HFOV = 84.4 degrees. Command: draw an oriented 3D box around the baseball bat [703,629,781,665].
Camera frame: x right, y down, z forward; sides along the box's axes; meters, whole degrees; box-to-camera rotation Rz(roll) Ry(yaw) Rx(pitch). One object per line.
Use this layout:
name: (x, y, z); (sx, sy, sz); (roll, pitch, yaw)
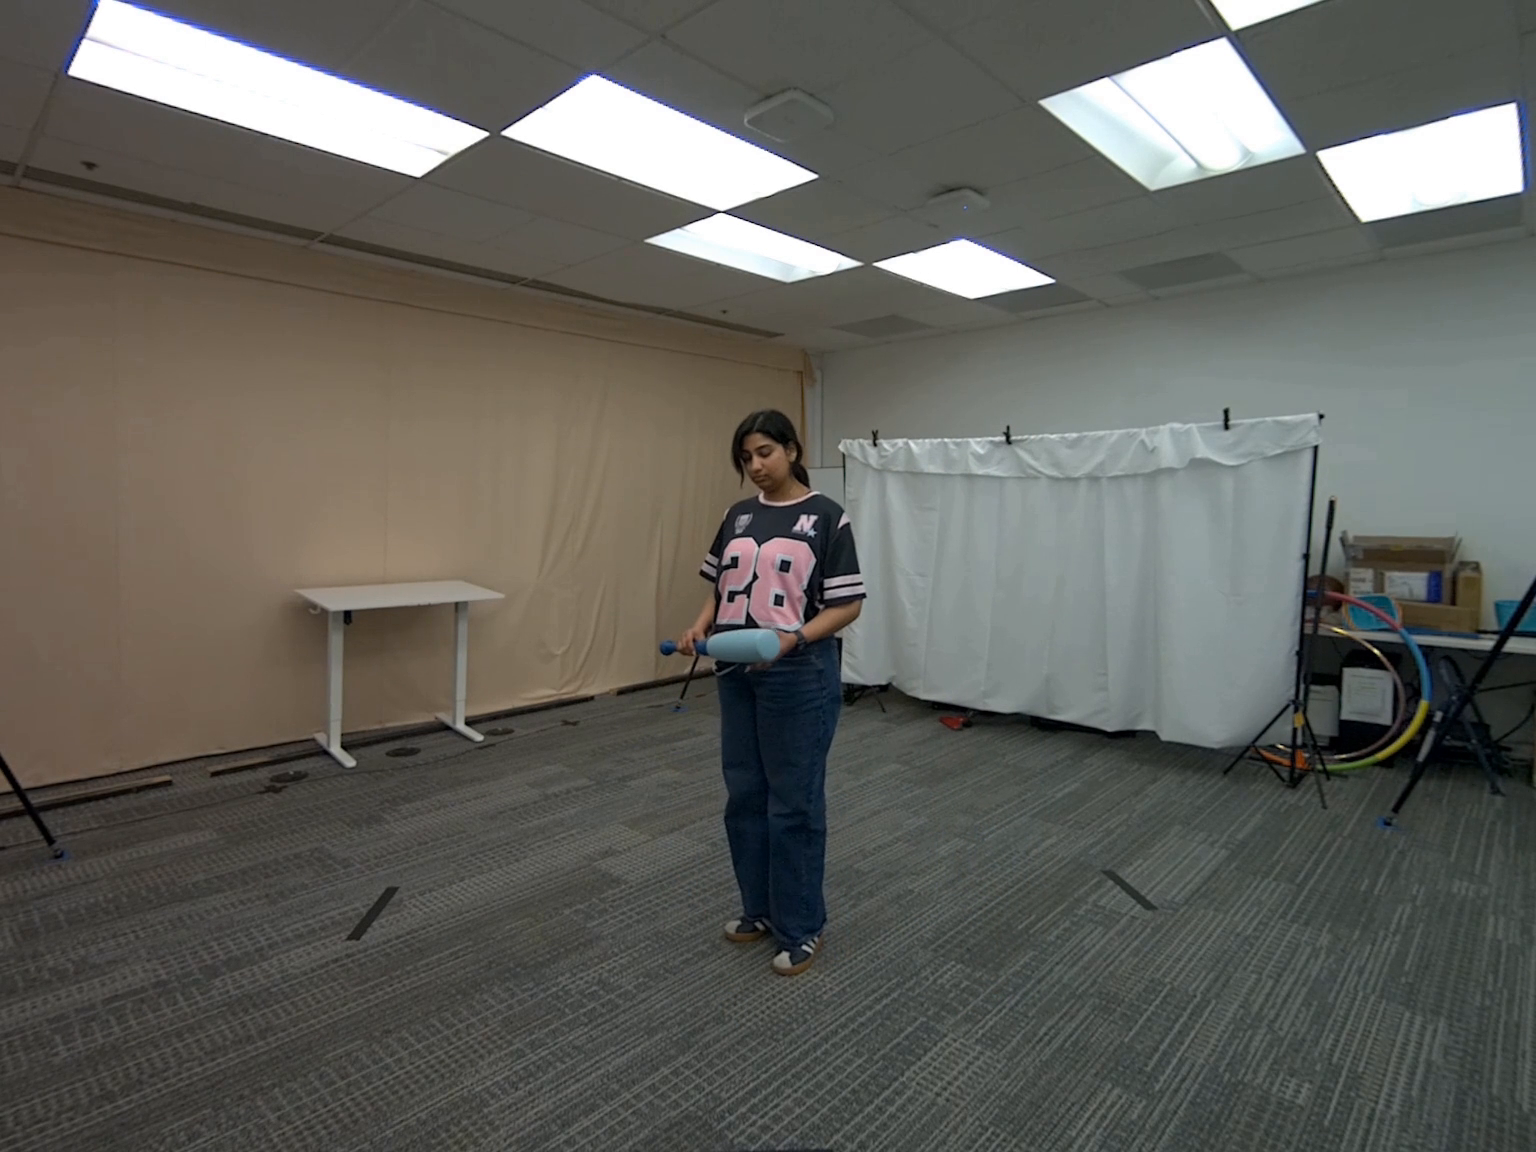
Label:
baseball bat: (-0.159, 0.210, 2.432); (0.086, 0.089, 0.557); (-3, -4, -36)
